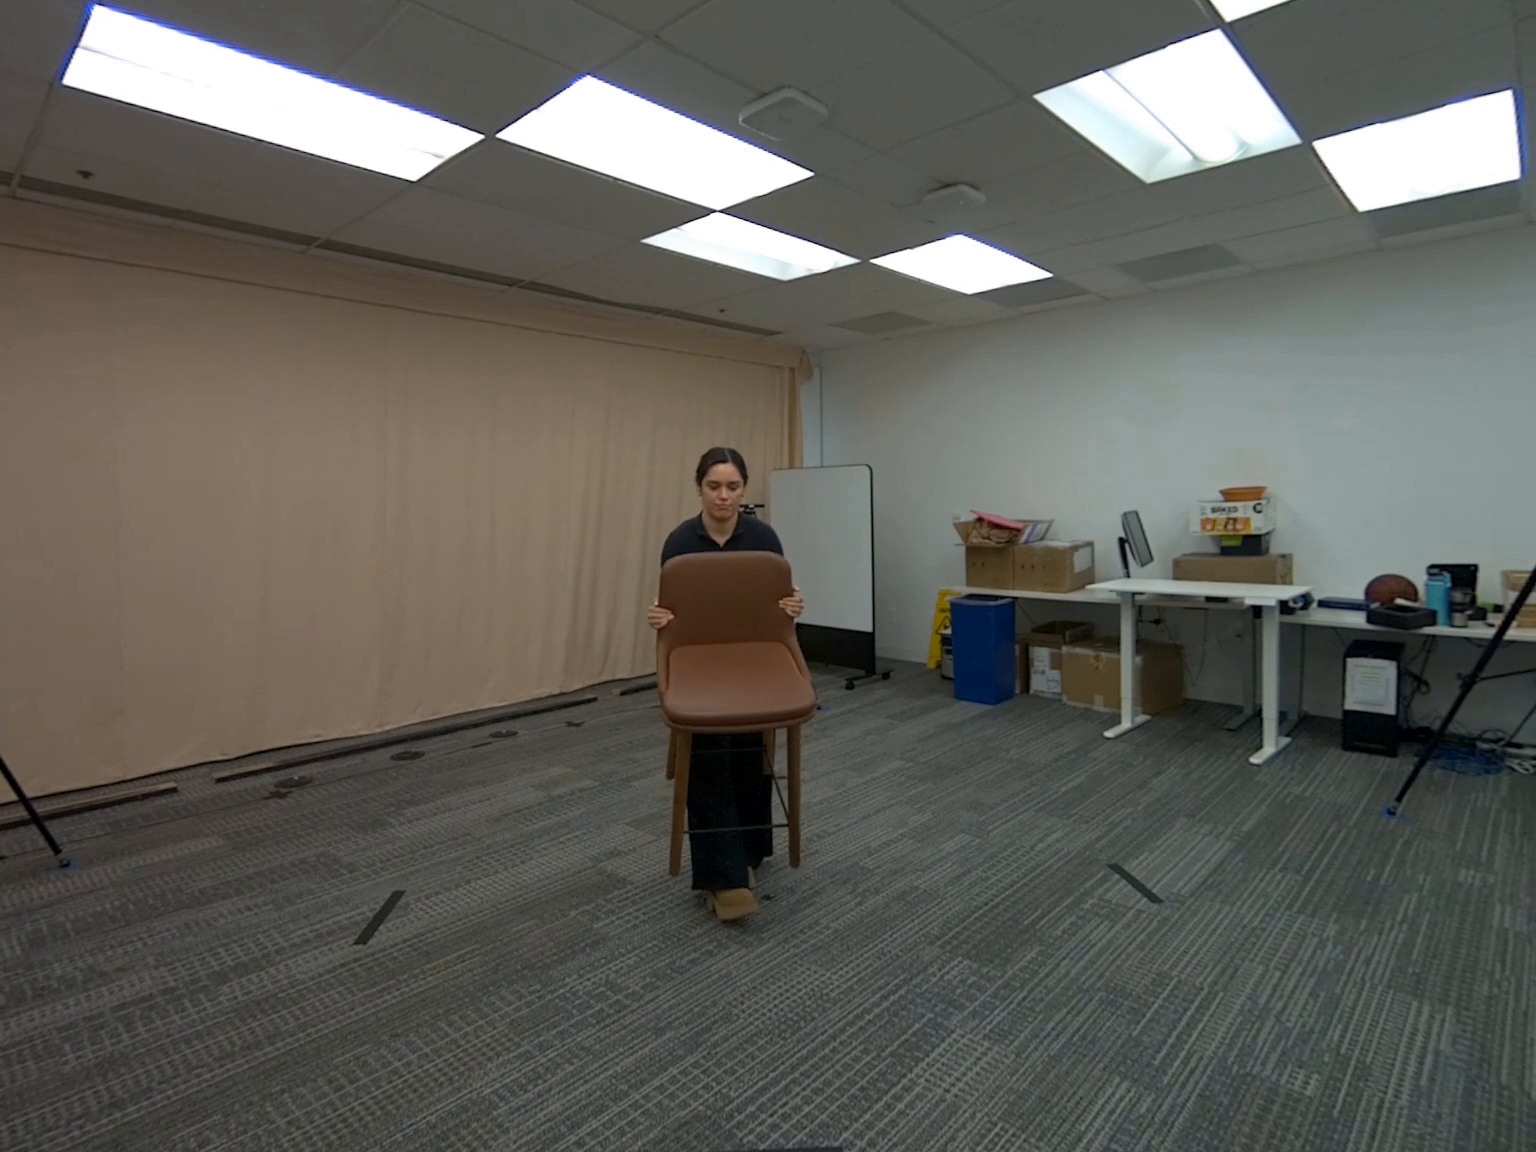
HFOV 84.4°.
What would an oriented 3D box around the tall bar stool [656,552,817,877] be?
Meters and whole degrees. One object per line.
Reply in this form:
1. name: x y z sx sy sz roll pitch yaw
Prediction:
1. tall bar stool: -0.113 0.428 2.604 0.453 0.878 0.478 -1 26 -9
